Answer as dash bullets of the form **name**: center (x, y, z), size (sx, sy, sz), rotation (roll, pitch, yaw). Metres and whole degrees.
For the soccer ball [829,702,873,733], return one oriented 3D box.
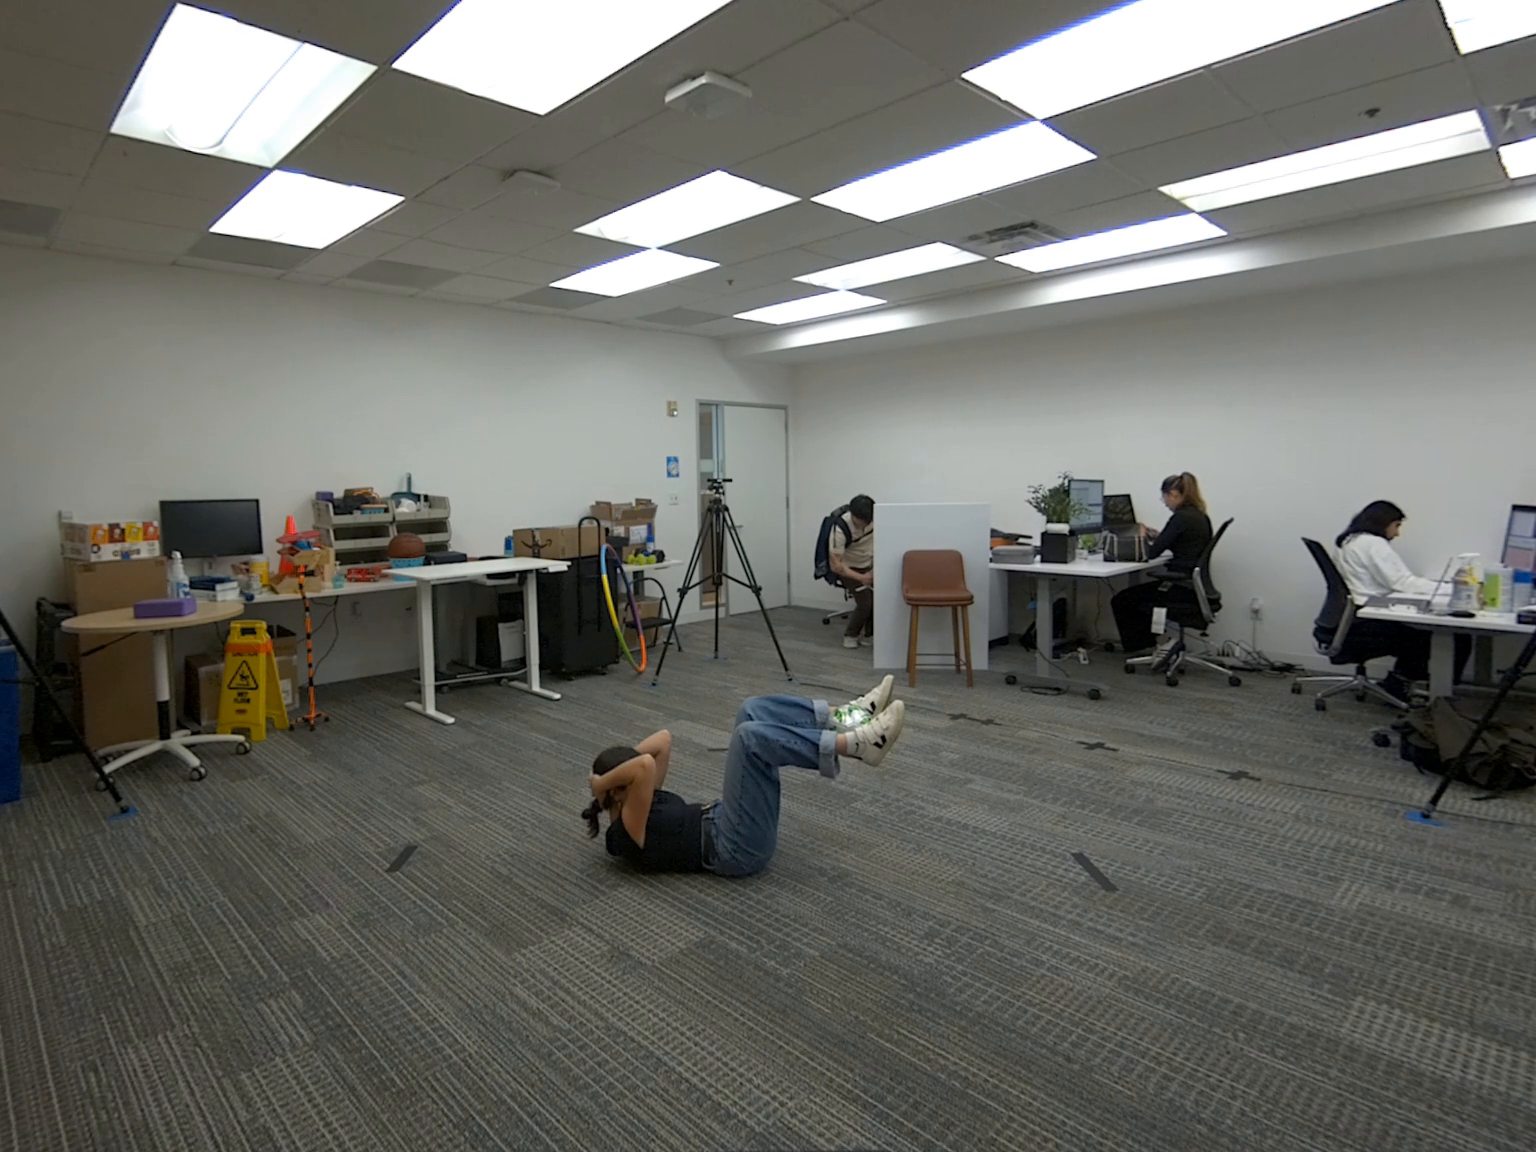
- **soccer ball**: center (0.309, 0.558, 3.064), size (0.187, 0.187, 0.188), rotation (0, 1, -2)
